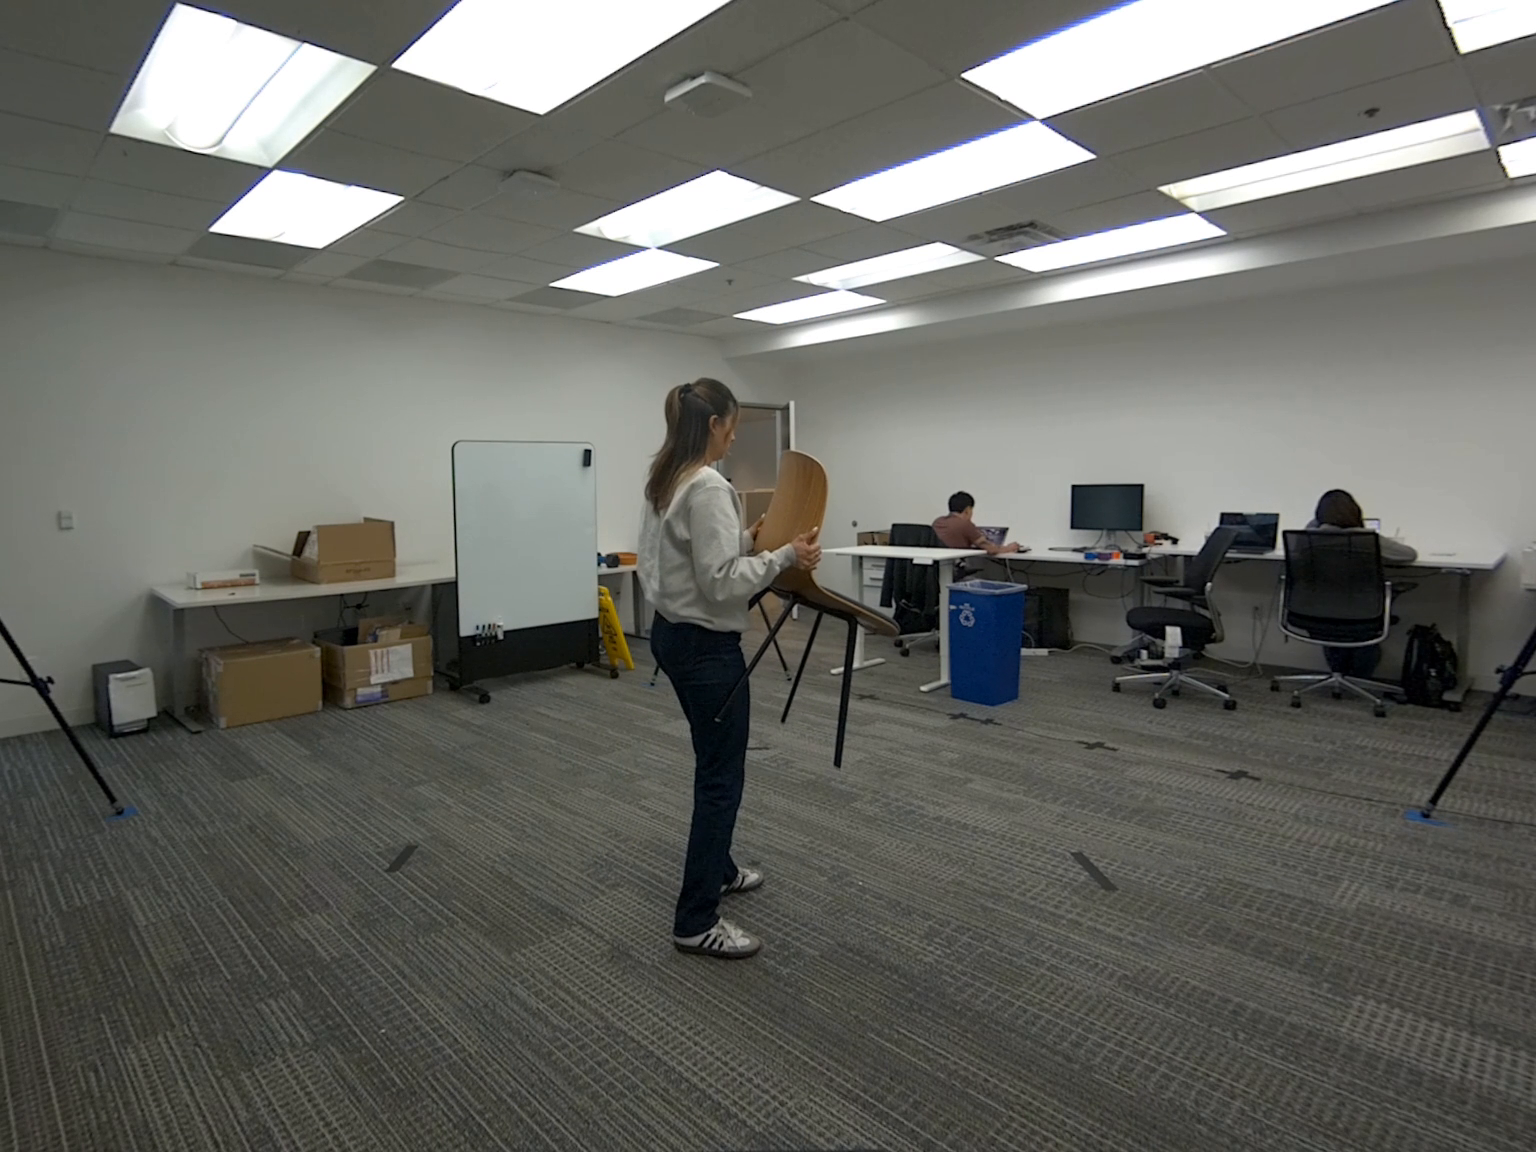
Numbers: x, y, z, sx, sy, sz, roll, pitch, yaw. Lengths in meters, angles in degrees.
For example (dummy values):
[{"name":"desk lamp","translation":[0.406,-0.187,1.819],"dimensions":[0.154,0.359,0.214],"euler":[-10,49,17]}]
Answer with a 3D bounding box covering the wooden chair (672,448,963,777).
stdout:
[{"name":"wooden chair","translation":[0.139,0.090,2.813],"dimensions":[0.511,0.877,0.489],"euler":[21,0,-21]}]
